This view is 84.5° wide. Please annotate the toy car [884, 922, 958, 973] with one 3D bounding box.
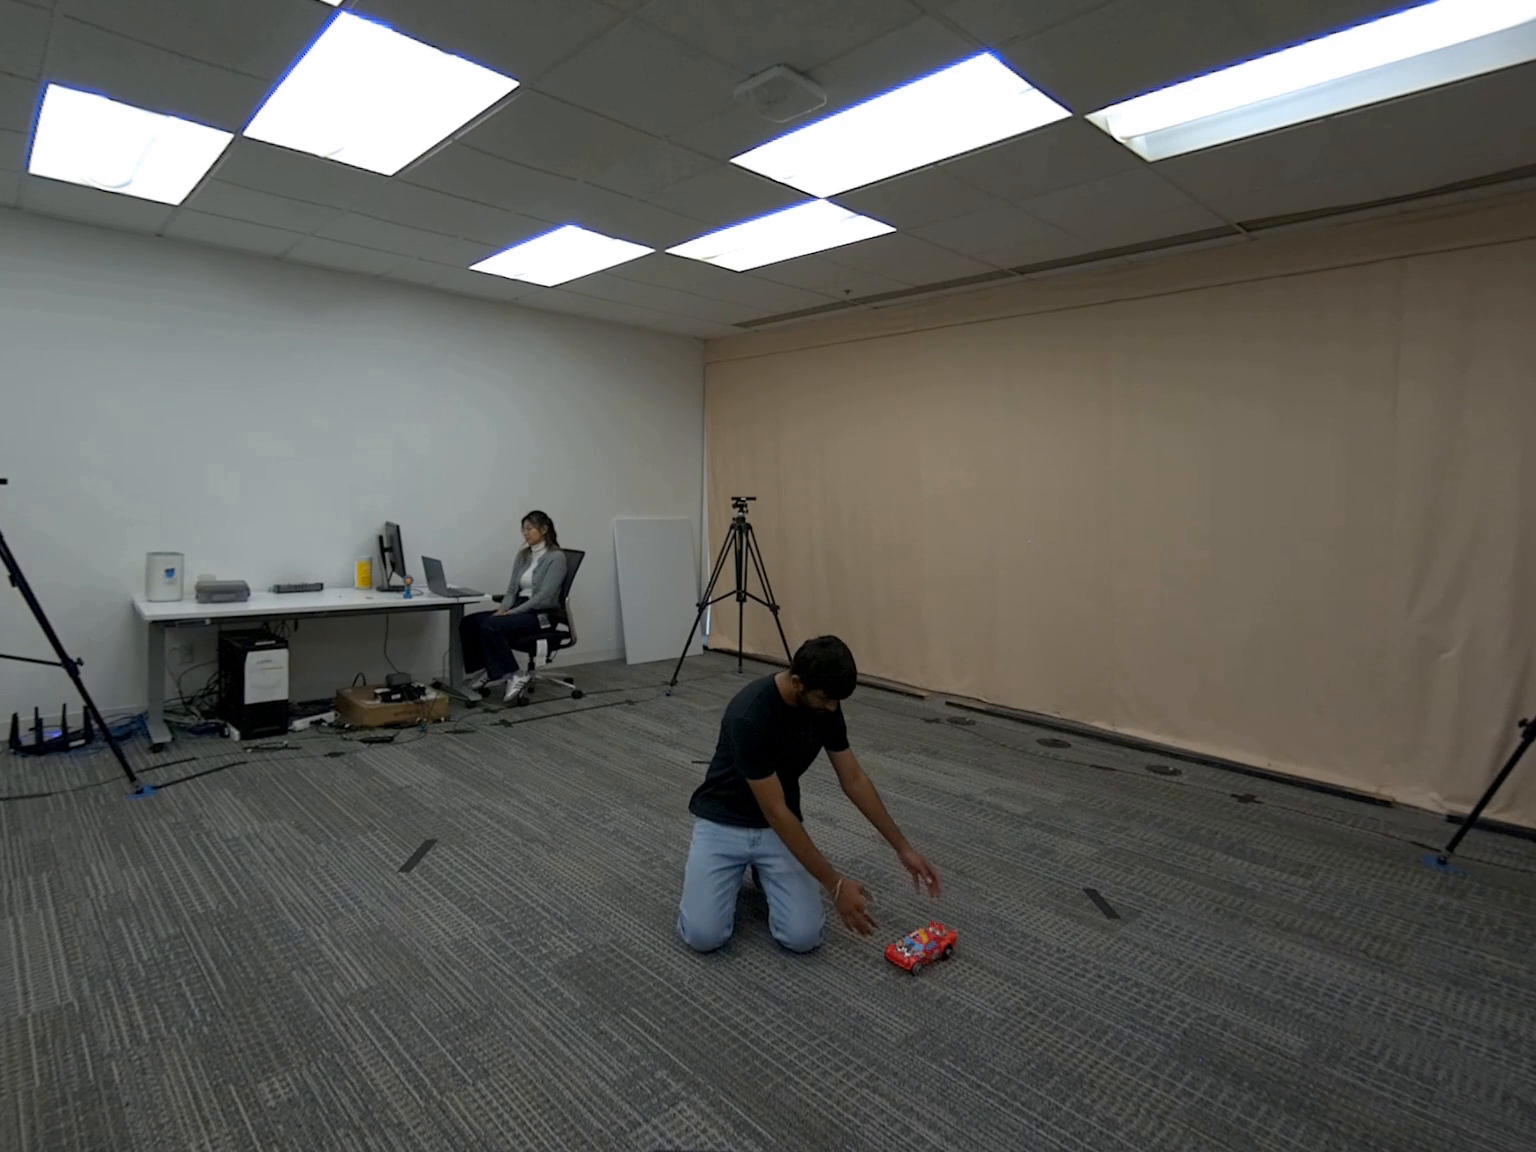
[{"bbox_3d":[0.471,1.134,2.576,0.250,0.082,0.133,-16,14,-38],"label":"toy car"}]
